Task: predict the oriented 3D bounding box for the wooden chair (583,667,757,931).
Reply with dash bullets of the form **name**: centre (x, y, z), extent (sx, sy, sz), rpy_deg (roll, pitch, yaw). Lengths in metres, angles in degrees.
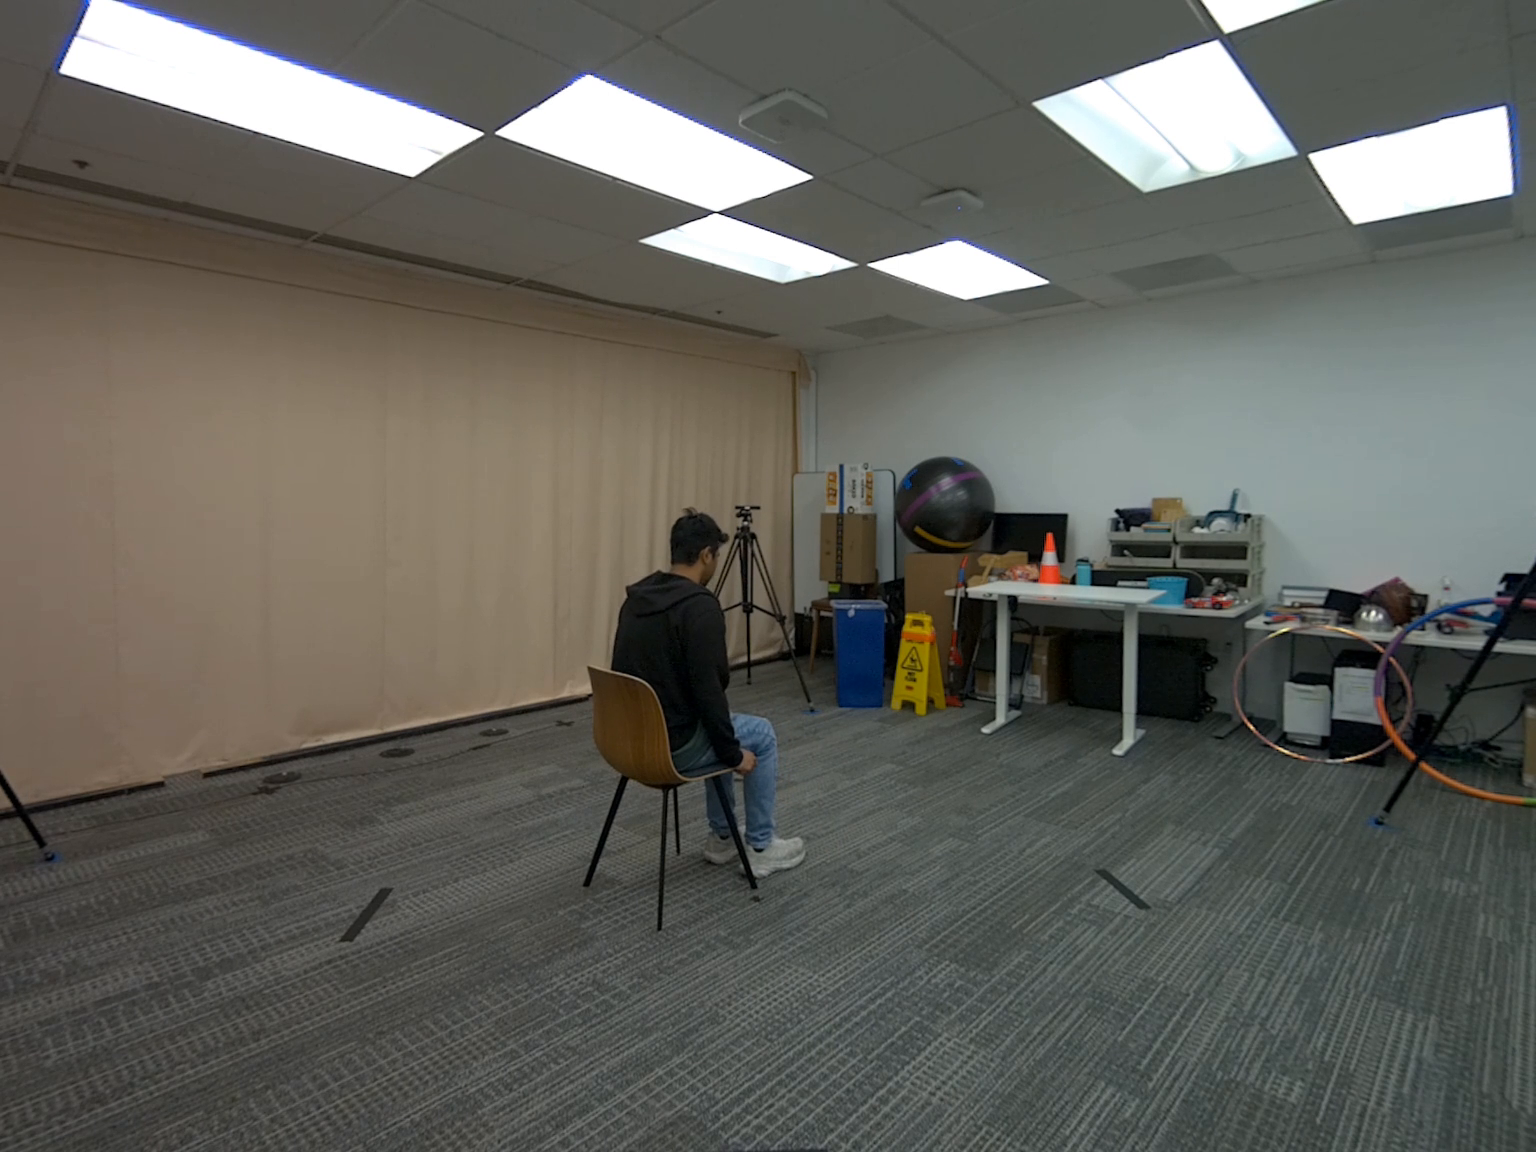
- **wooden chair**: centre (-0.351, 0.715, 3.058), extent (0.508, 0.874, 0.494), rpy_deg (-8, 7, -43)
